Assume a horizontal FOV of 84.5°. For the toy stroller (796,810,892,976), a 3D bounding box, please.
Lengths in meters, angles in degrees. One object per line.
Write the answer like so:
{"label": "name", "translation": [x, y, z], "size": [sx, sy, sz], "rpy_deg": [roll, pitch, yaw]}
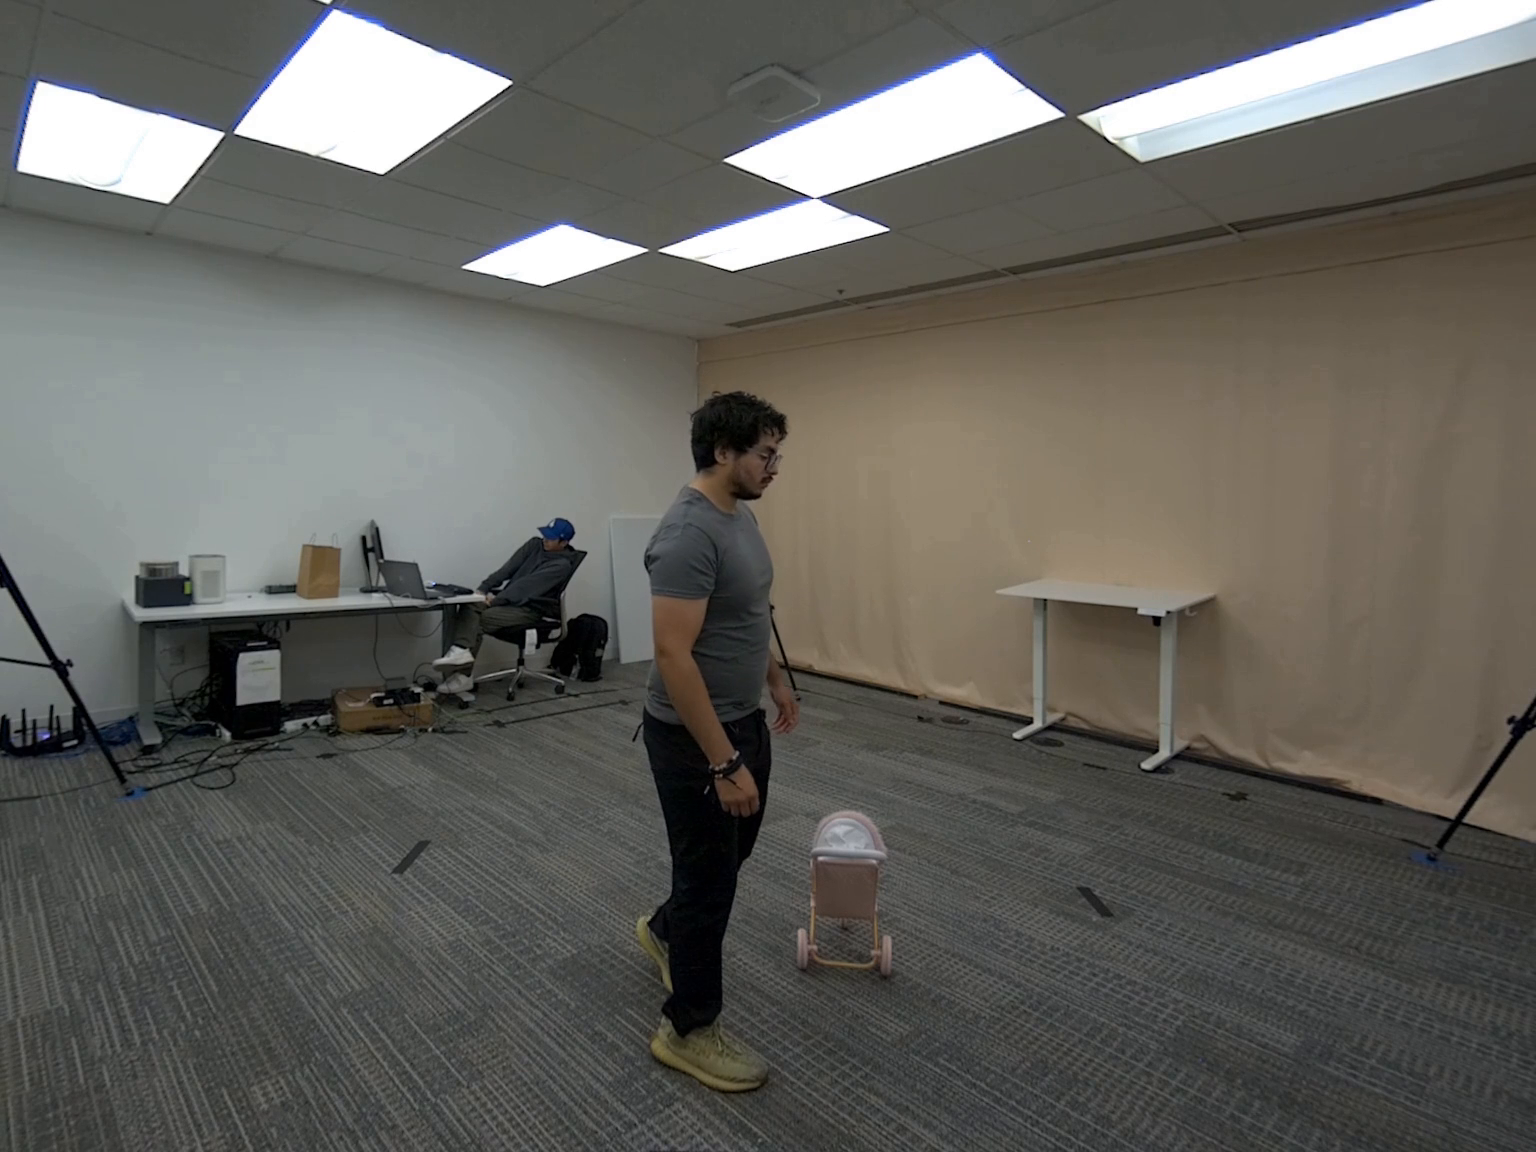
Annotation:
{"label": "toy stroller", "translation": [0.234, 0.943, 2.552], "size": [0.283, 0.527, 0.343], "rpy_deg": [3, 20, 8]}
